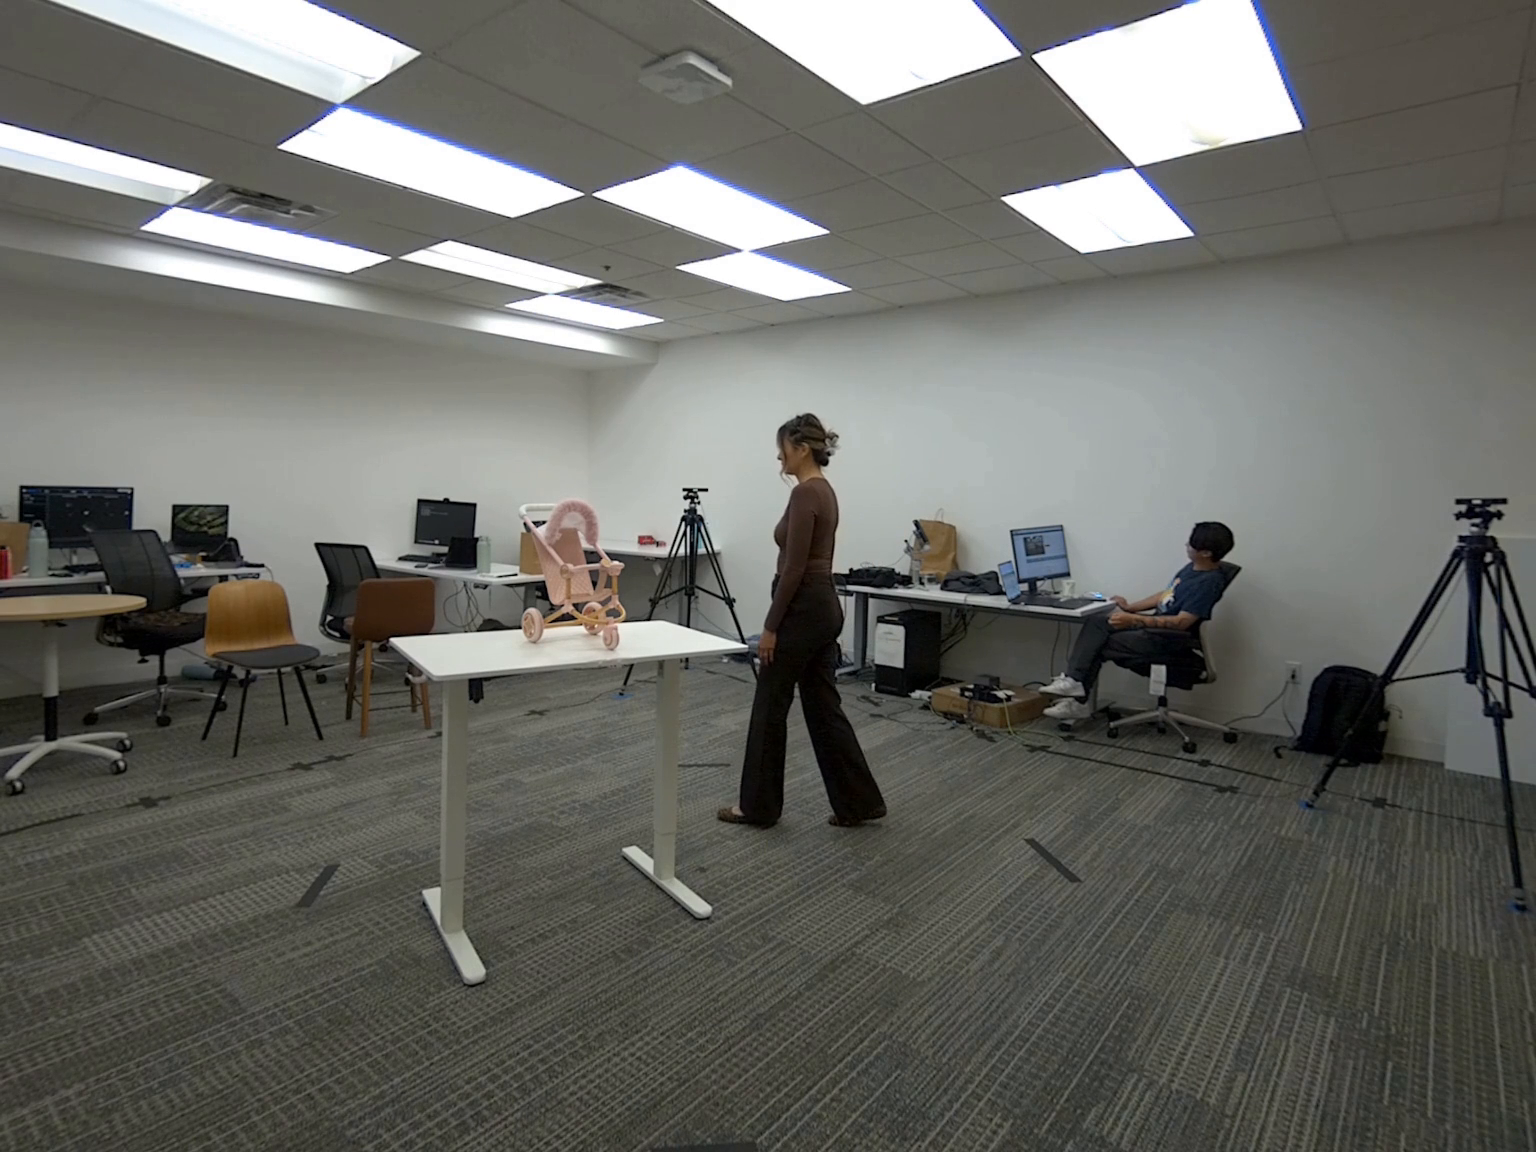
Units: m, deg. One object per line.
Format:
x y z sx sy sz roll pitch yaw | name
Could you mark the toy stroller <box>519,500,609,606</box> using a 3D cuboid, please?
-0.639 -0.013 2.775 0.273 0.539 0.349 -2 -9 -44 | toy stroller
